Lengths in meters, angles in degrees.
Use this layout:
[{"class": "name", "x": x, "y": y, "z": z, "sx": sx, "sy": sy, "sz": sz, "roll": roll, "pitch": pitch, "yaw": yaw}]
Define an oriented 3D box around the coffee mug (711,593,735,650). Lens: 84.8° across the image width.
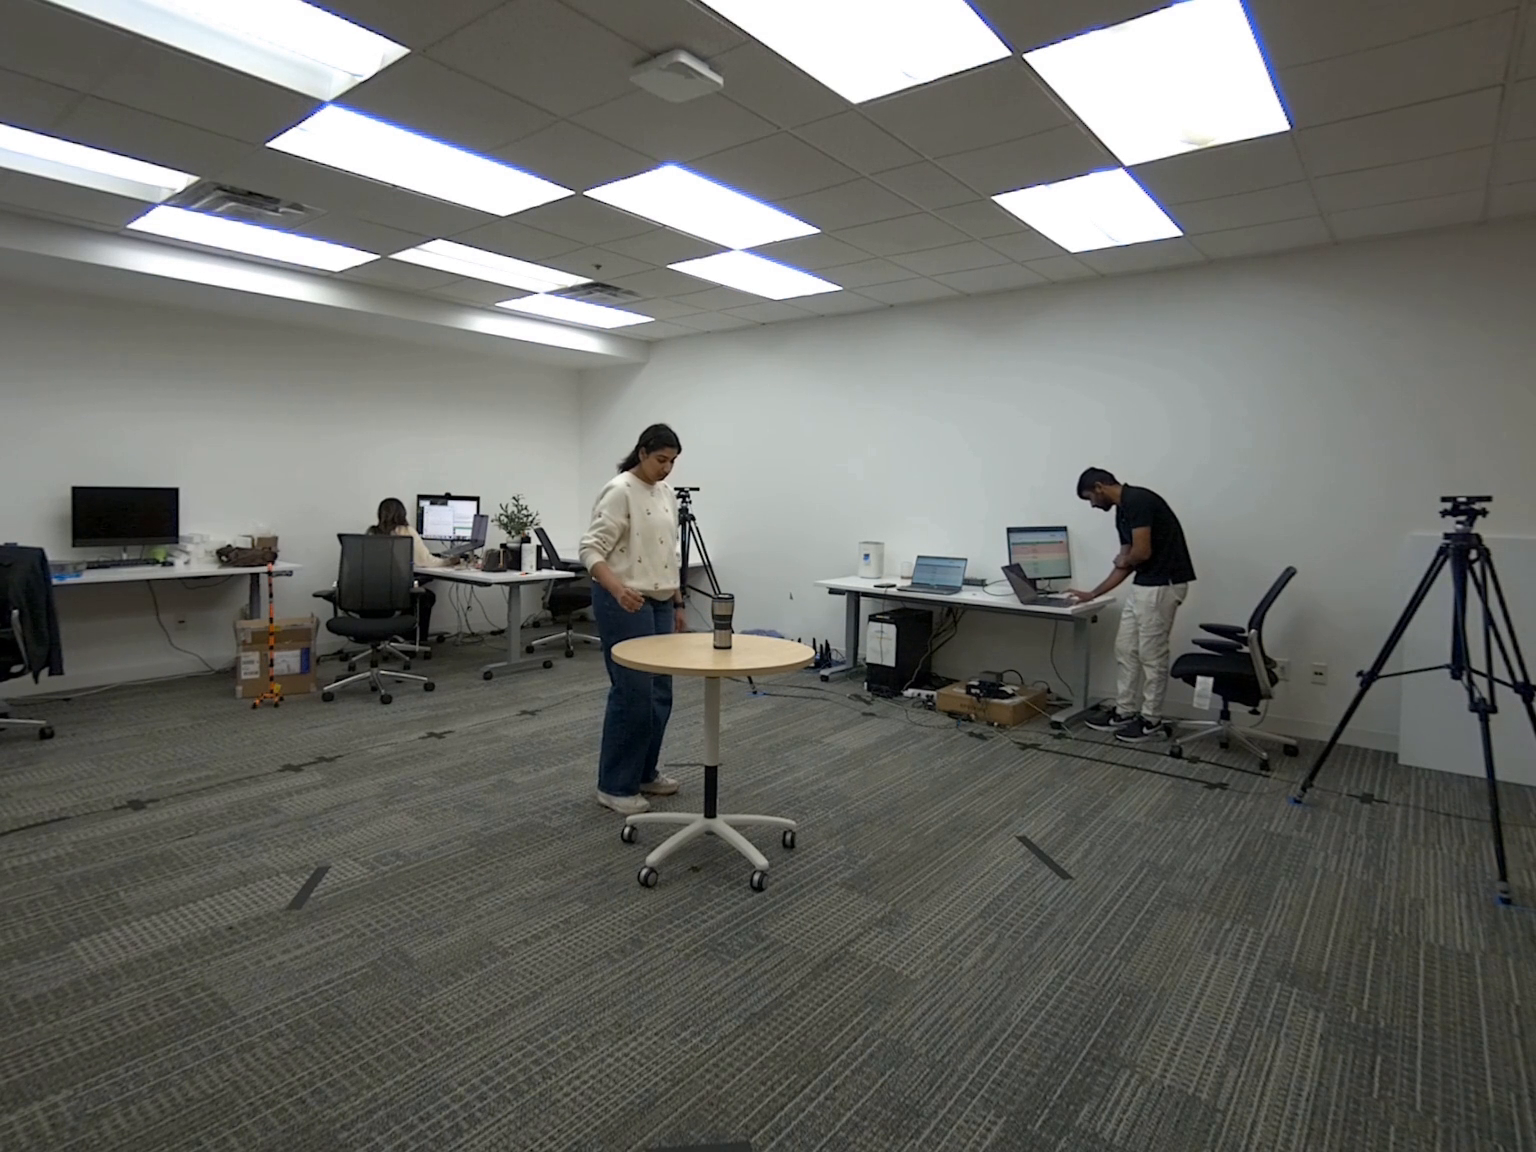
[{"class": "coffee mug", "x": -0.176, "y": 0.170, "z": 3.255, "sx": 0.089, "sy": 0.202, "sz": 0.121, "roll": 0, "pitch": 5, "yaw": 12}]
